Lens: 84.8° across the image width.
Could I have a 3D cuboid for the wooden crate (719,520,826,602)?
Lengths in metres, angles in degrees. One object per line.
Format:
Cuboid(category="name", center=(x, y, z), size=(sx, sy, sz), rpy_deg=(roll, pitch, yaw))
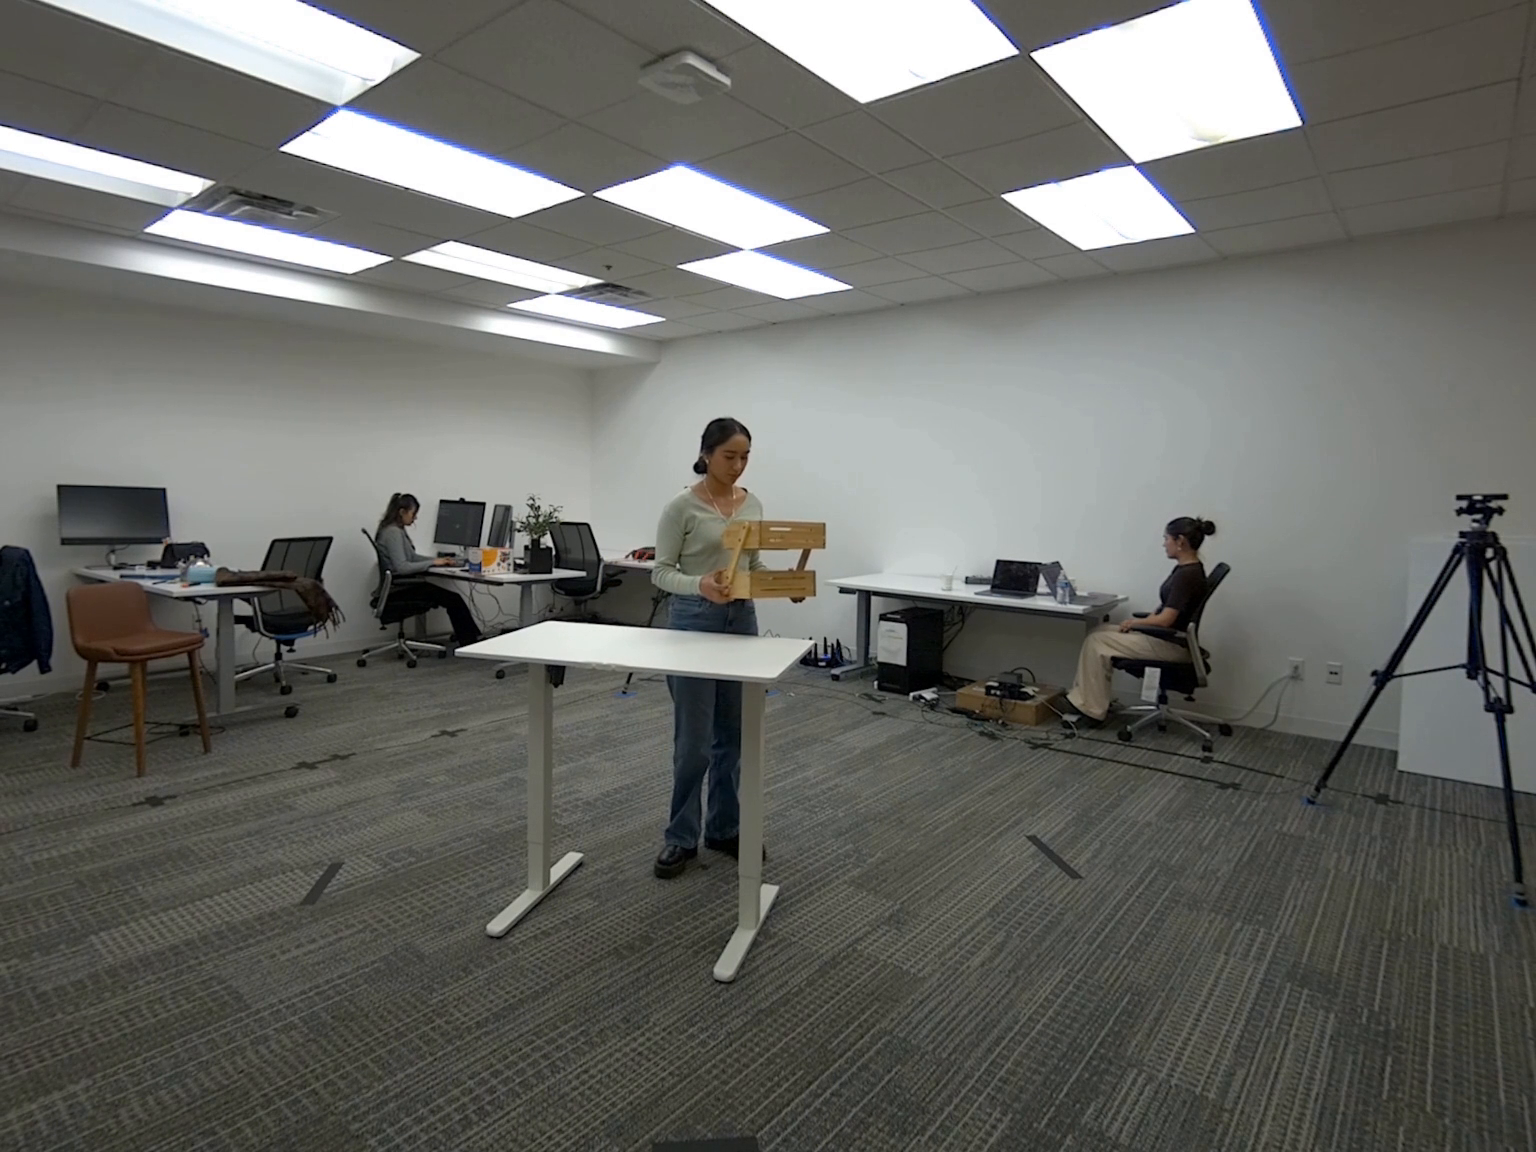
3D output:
Cuboid(category="wooden crate", center=(-0.015, -0.064, 2.994), size=(0.314, 0.274, 0.311), rpy_deg=(0, -1, -39))
